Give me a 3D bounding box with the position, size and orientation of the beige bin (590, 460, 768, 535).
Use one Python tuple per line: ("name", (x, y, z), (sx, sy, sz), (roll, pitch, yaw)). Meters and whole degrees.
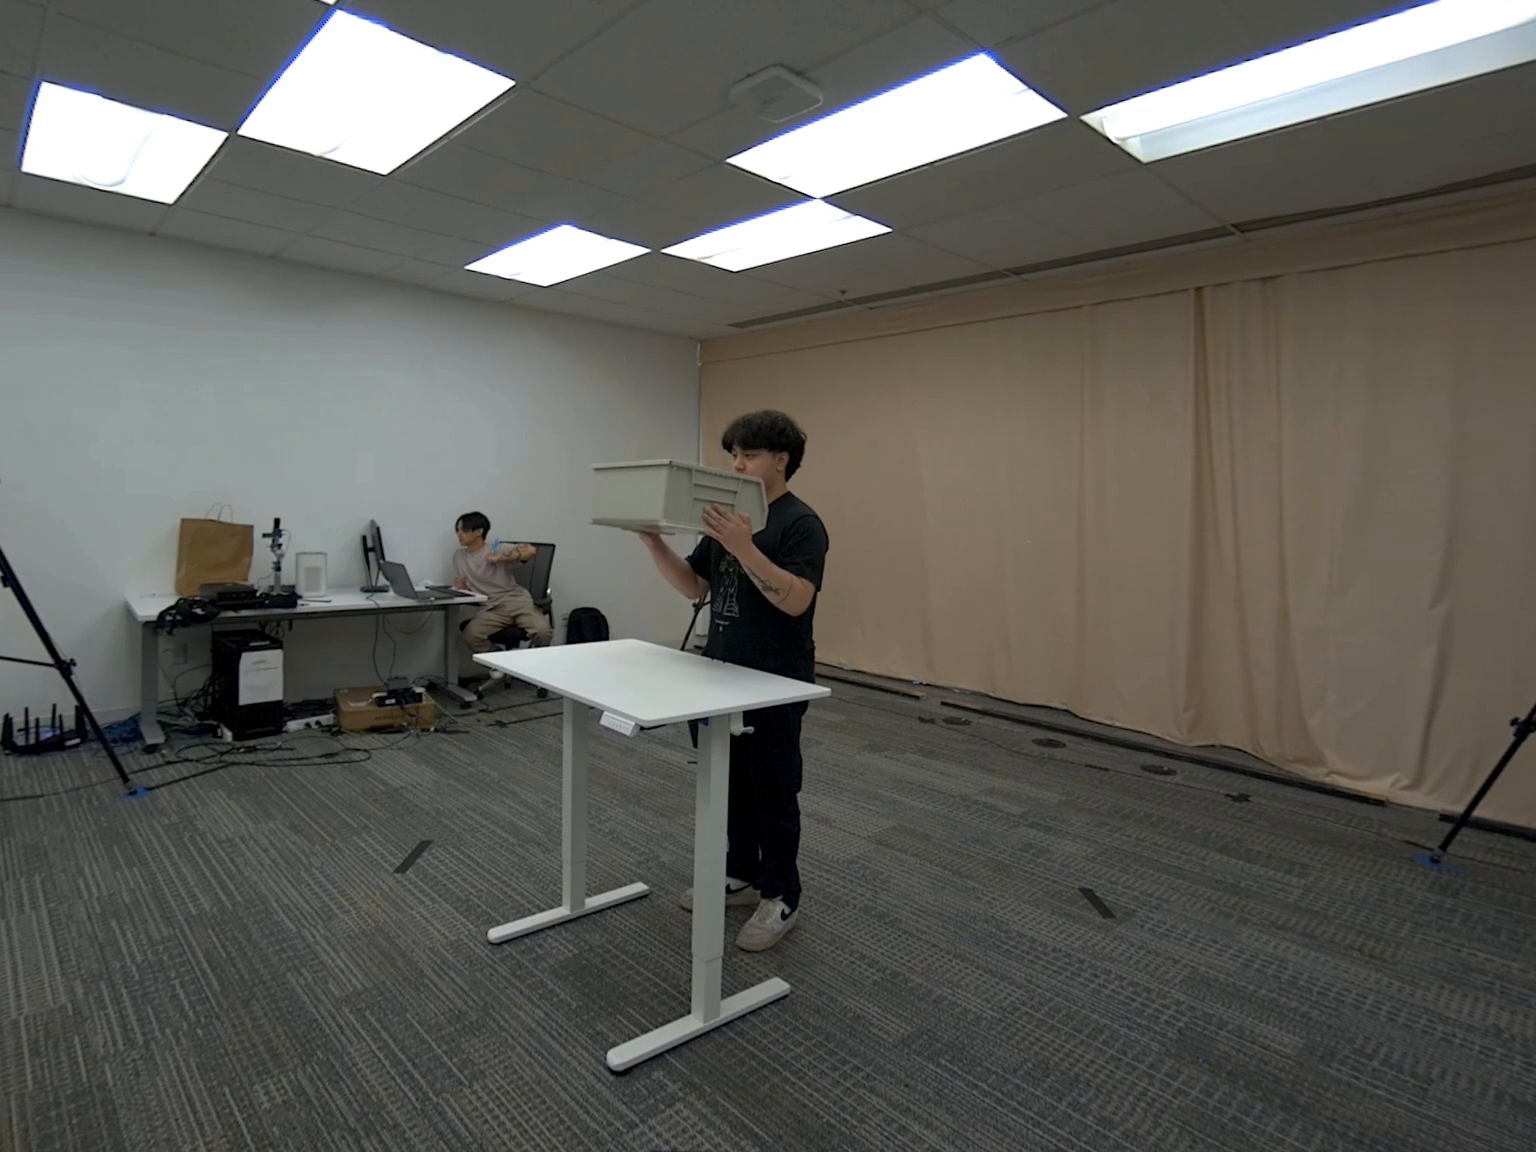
("beige bin", (-0.287, -0.213, 2.521), (0.368, 0.189, 0.433), (6, 0, -41))
